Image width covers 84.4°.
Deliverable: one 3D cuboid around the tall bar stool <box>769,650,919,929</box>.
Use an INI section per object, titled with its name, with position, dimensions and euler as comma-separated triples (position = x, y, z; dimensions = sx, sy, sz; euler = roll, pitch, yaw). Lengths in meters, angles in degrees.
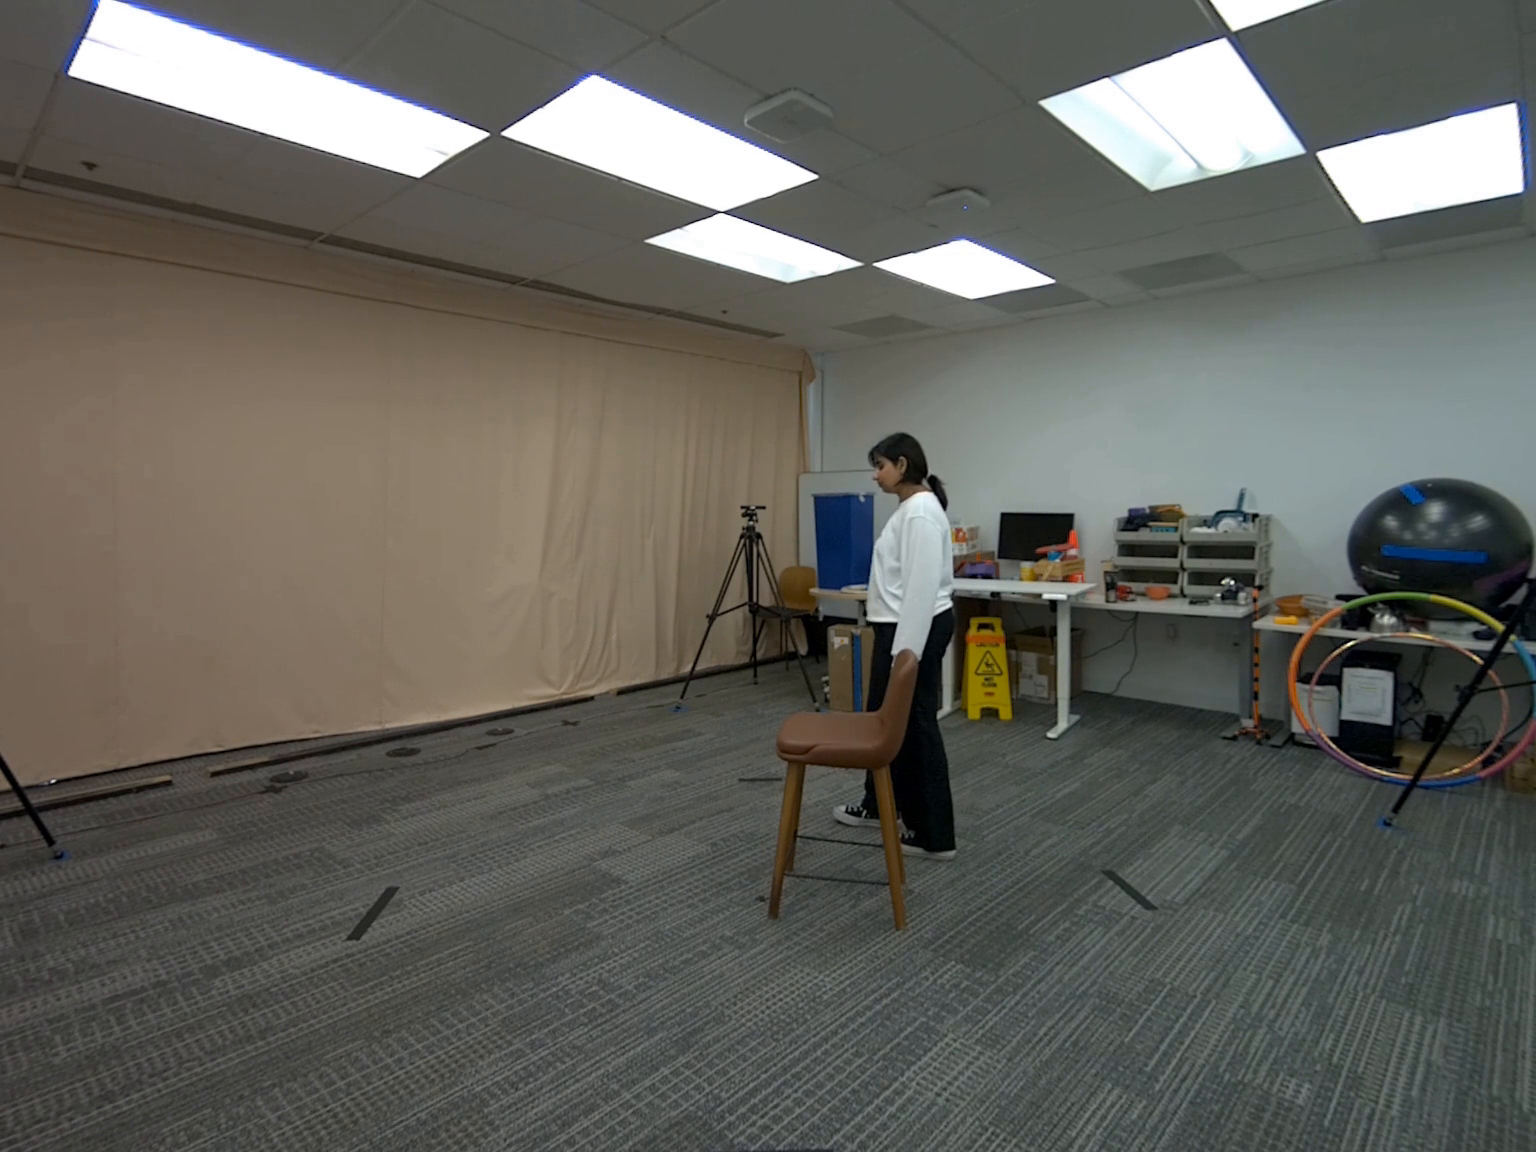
[tall bar stool]
position = 0.272, 0.712, 2.964
dimensions = 0.474, 0.888, 0.451
euler = 2, 3, 12
